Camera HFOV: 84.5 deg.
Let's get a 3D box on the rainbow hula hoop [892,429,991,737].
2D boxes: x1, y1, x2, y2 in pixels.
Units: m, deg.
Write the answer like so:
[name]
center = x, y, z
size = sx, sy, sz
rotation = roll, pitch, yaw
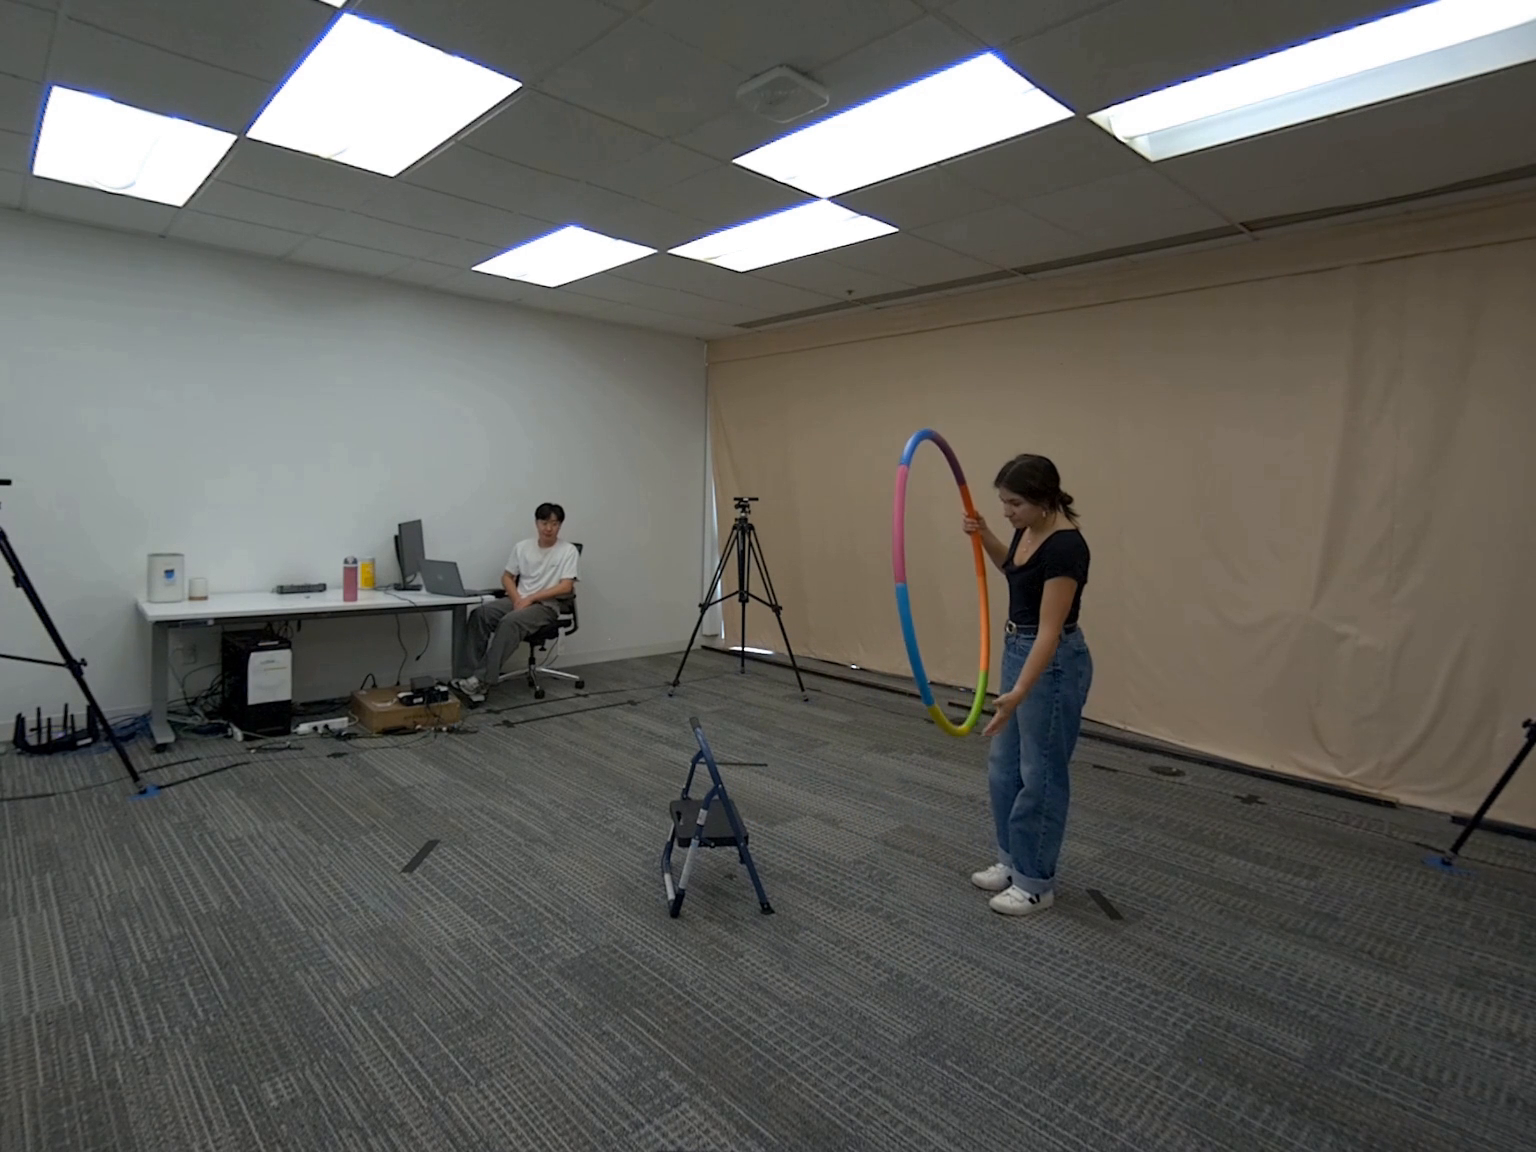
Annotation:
[rainbow hula hoop]
center = 0.570, 0.033, 2.711
size = 0.036, 0.979, 0.961
rotation = -7, 0, 27
